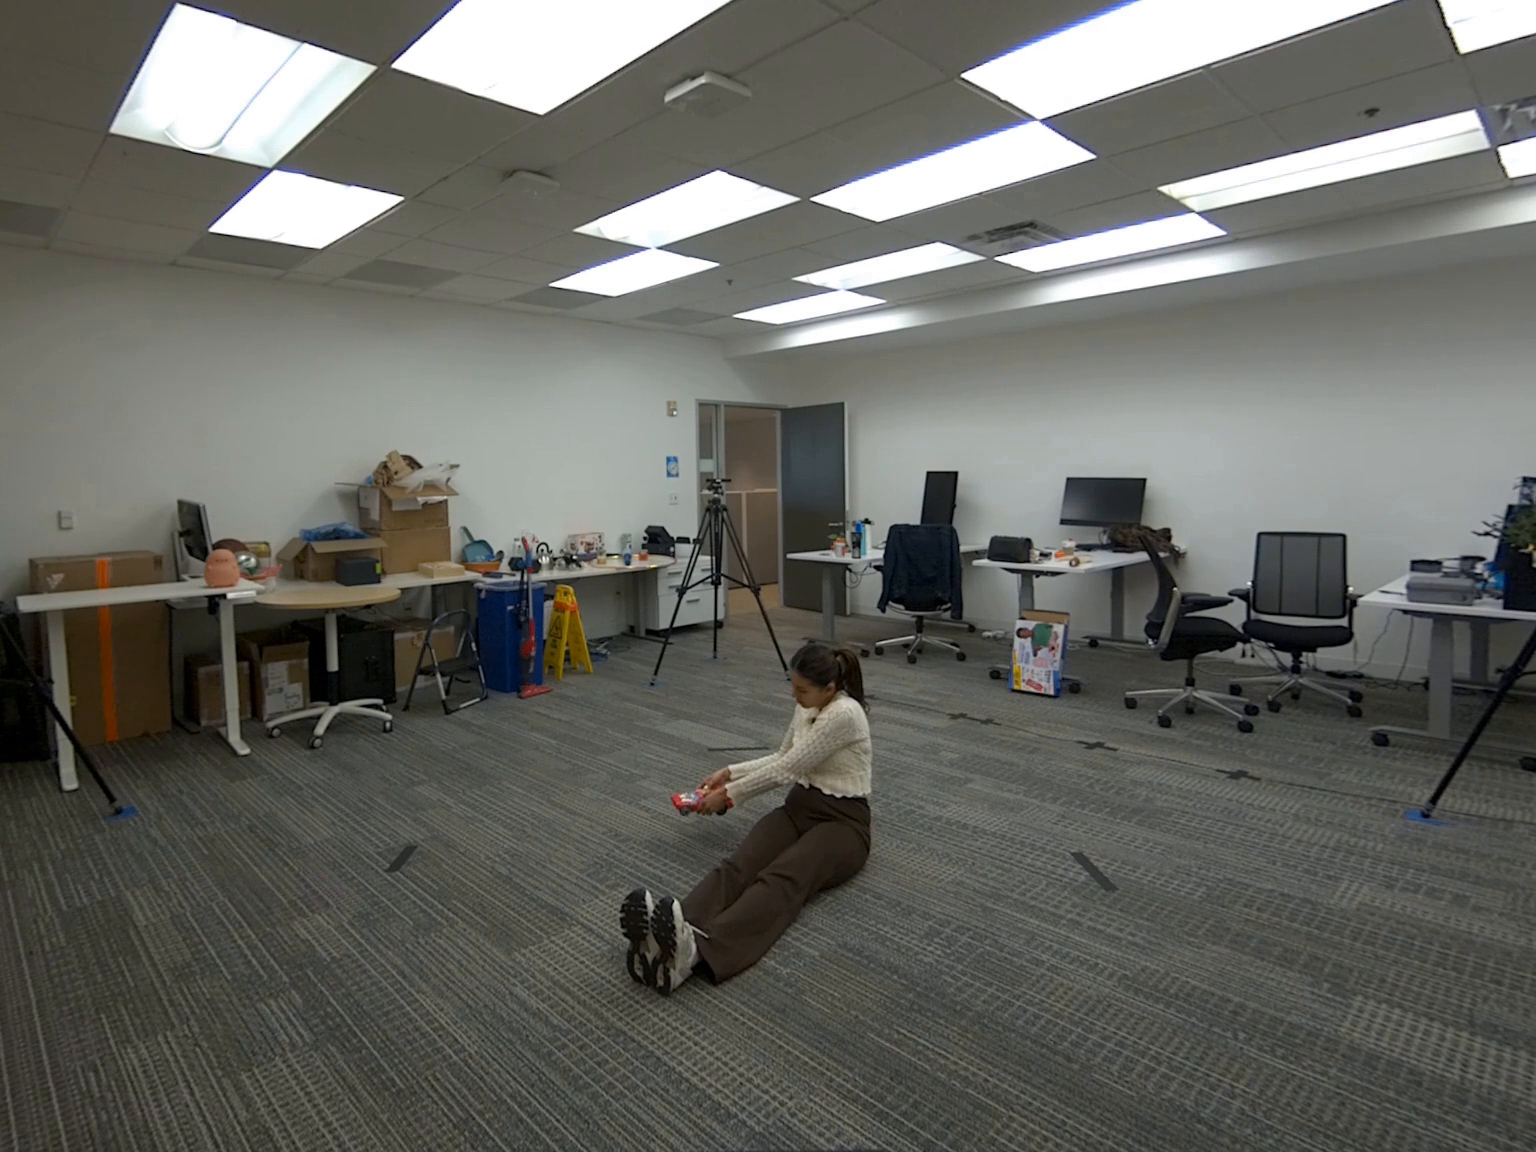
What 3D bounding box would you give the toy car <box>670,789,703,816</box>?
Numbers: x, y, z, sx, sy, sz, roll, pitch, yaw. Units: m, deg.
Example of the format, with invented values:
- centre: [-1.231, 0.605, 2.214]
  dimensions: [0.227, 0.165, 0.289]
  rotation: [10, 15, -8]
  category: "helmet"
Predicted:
- centre: [-0.241, 0.877, 3.303]
  dimensions: [0.250, 0.082, 0.133]
  rotation: [-5, 9, -21]
  category: "toy car"
